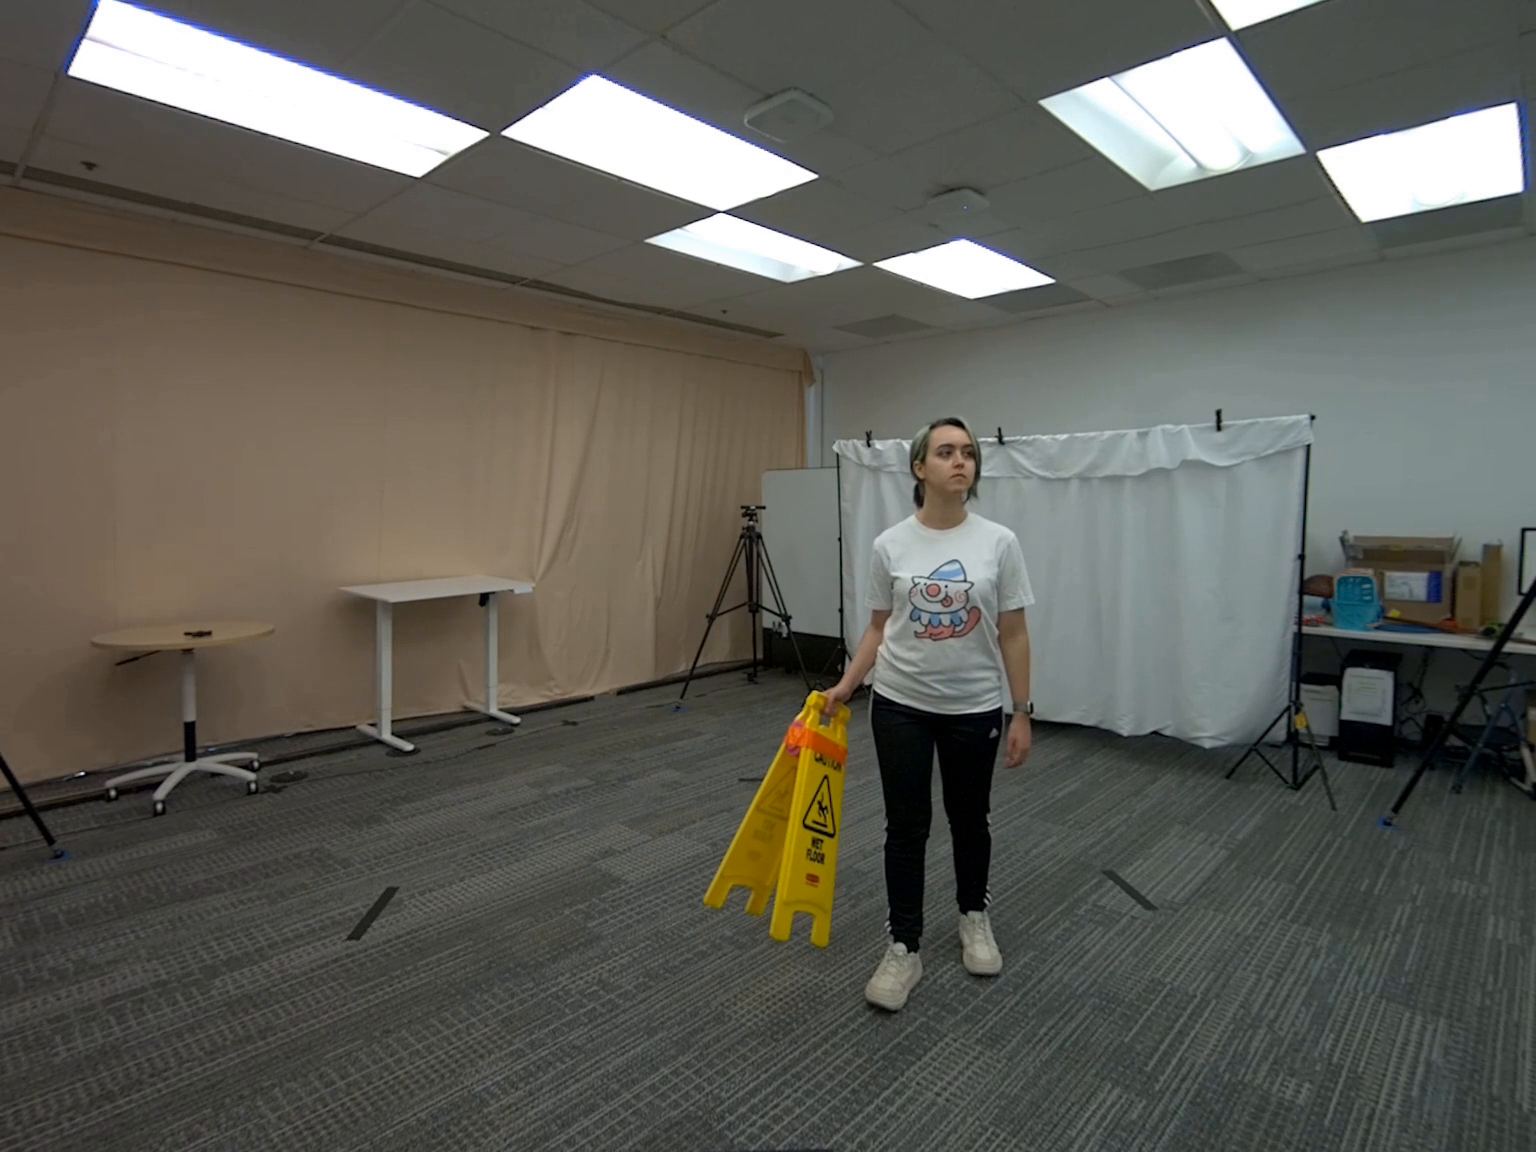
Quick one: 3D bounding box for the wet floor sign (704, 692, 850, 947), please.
[{"bbox_3d":[0.097,0.667,2.389,0.299,0.648,0.272,6,-19,40],"label":"wet floor sign"}]
